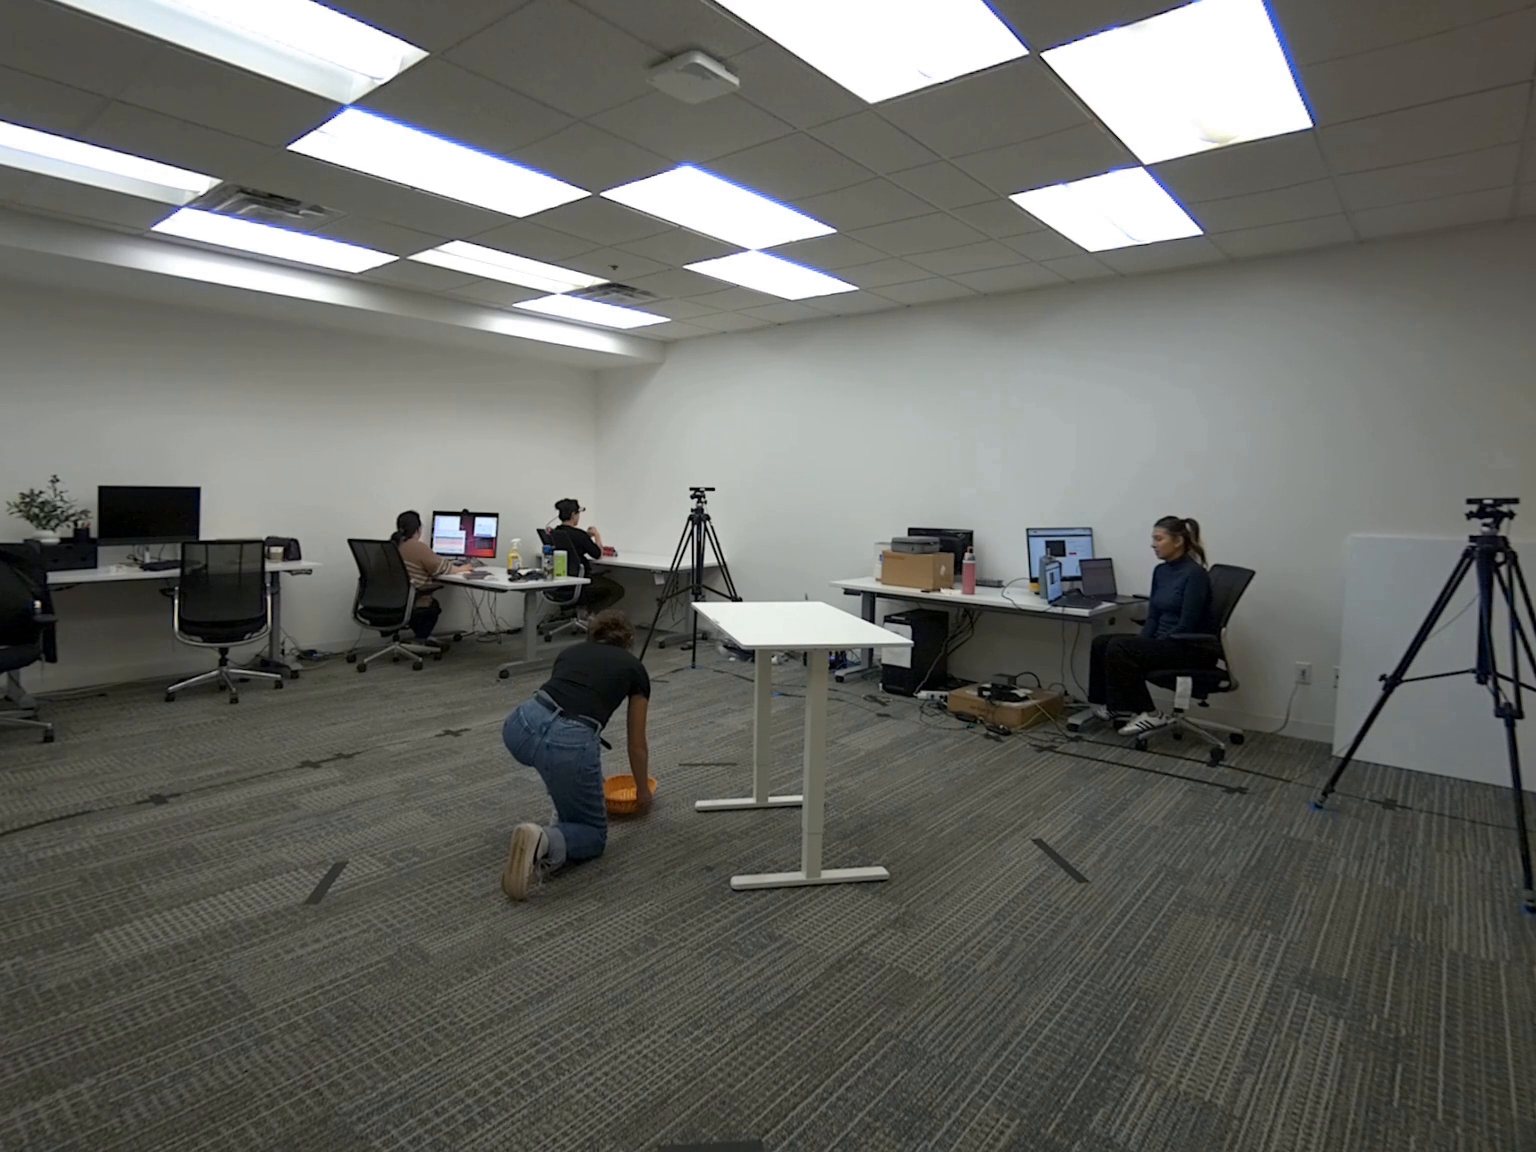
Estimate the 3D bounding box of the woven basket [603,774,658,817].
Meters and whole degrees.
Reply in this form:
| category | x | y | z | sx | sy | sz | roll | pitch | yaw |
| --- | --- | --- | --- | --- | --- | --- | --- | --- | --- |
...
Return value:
| category | x | y | z | sx | sy | sz | roll | pitch | yaw |
| --- | --- | --- | --- | --- | --- | --- | --- | --- | --- |
| woven basket | -0.631 | 0.948 | 3.705 | 0.254 | 0.073 | 0.349 | 2 | 4 | 5 |
